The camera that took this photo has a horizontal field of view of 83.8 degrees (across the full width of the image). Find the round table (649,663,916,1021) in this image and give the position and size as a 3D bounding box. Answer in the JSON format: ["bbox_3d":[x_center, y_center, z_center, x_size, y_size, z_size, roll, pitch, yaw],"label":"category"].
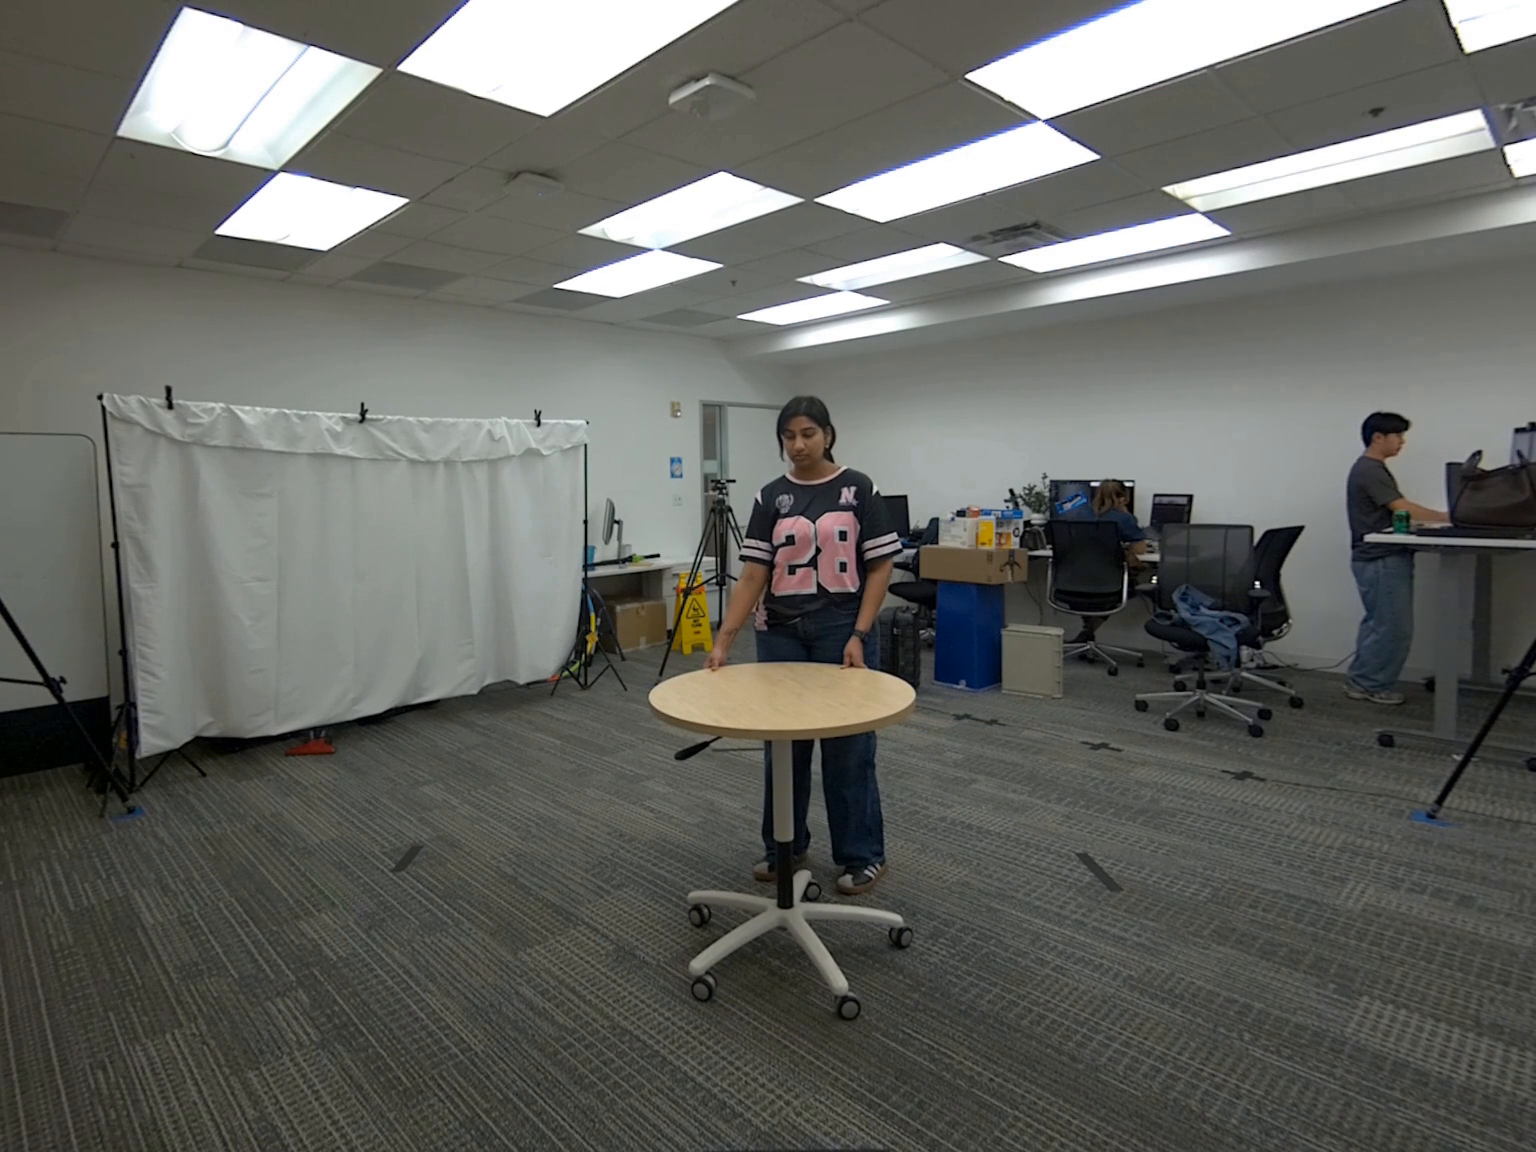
[{"bbox_3d":[0.054,0.724,2.513,0.785,0.783,0.789,-2,5,-1],"label":"round table"}]
